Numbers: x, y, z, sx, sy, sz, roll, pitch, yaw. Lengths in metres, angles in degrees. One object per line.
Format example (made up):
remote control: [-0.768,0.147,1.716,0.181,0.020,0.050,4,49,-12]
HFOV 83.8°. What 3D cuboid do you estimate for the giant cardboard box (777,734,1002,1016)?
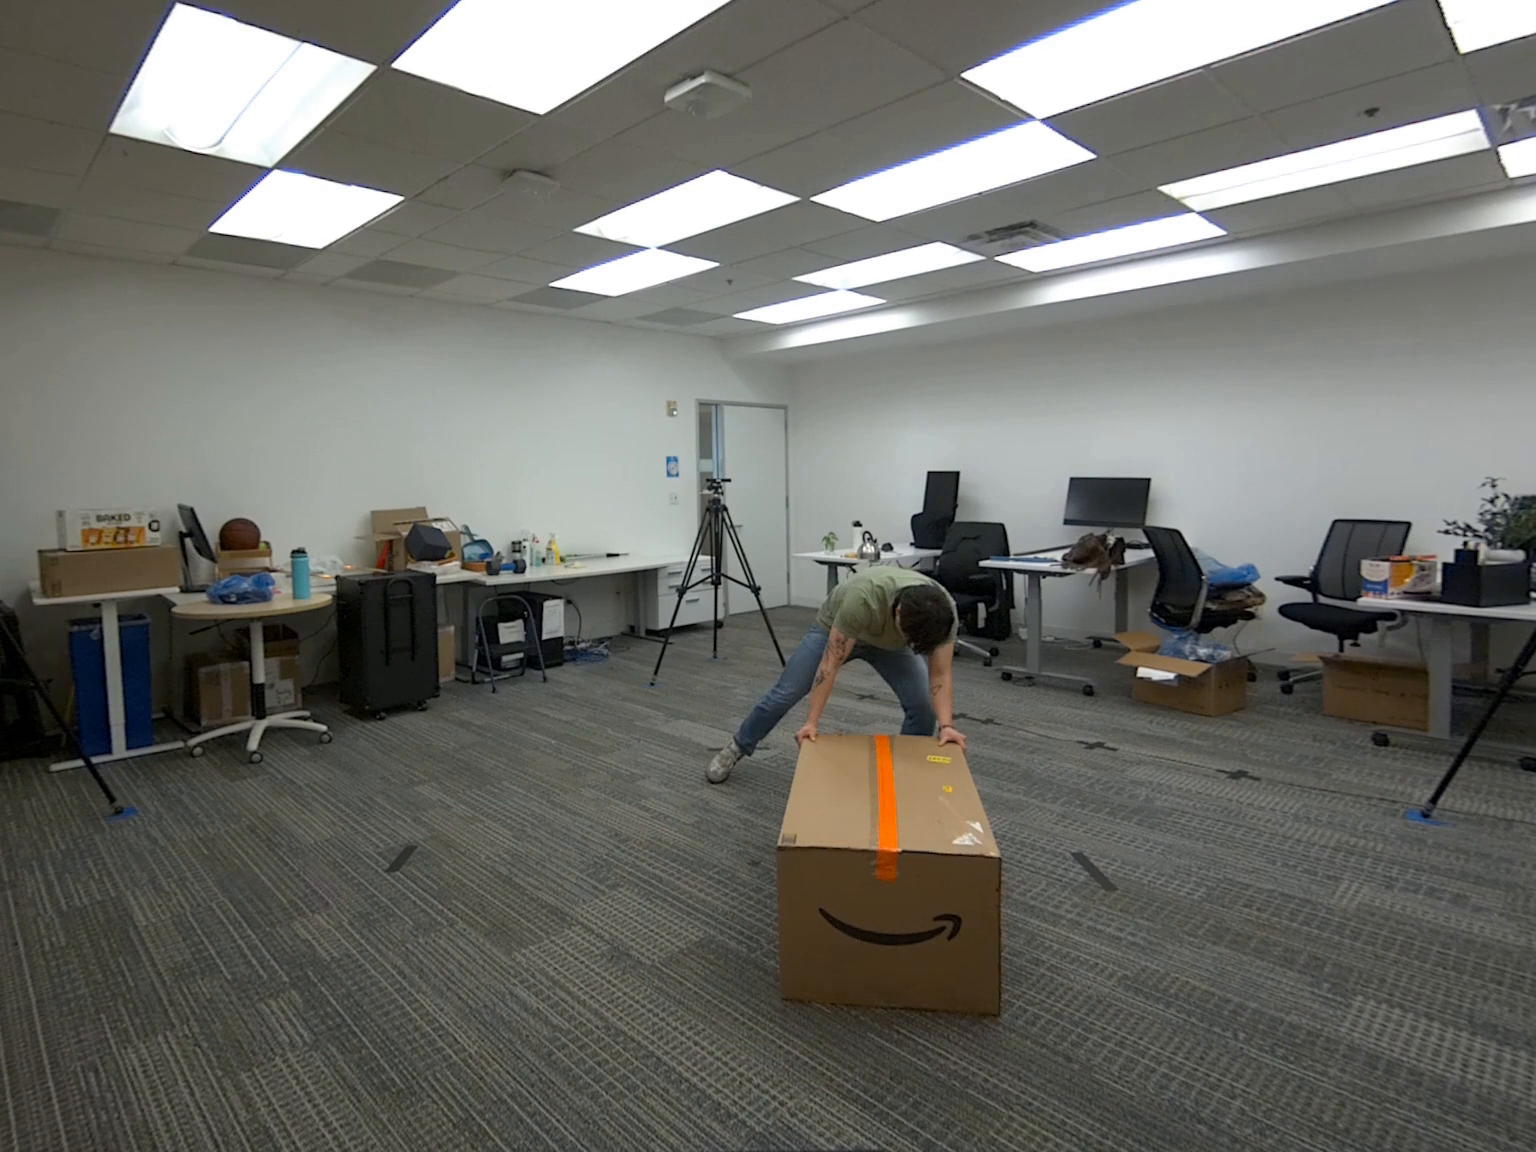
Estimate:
giant cardboard box: [0.374,0.871,2.727,0.582,0.424,1.022,0,6,7]
